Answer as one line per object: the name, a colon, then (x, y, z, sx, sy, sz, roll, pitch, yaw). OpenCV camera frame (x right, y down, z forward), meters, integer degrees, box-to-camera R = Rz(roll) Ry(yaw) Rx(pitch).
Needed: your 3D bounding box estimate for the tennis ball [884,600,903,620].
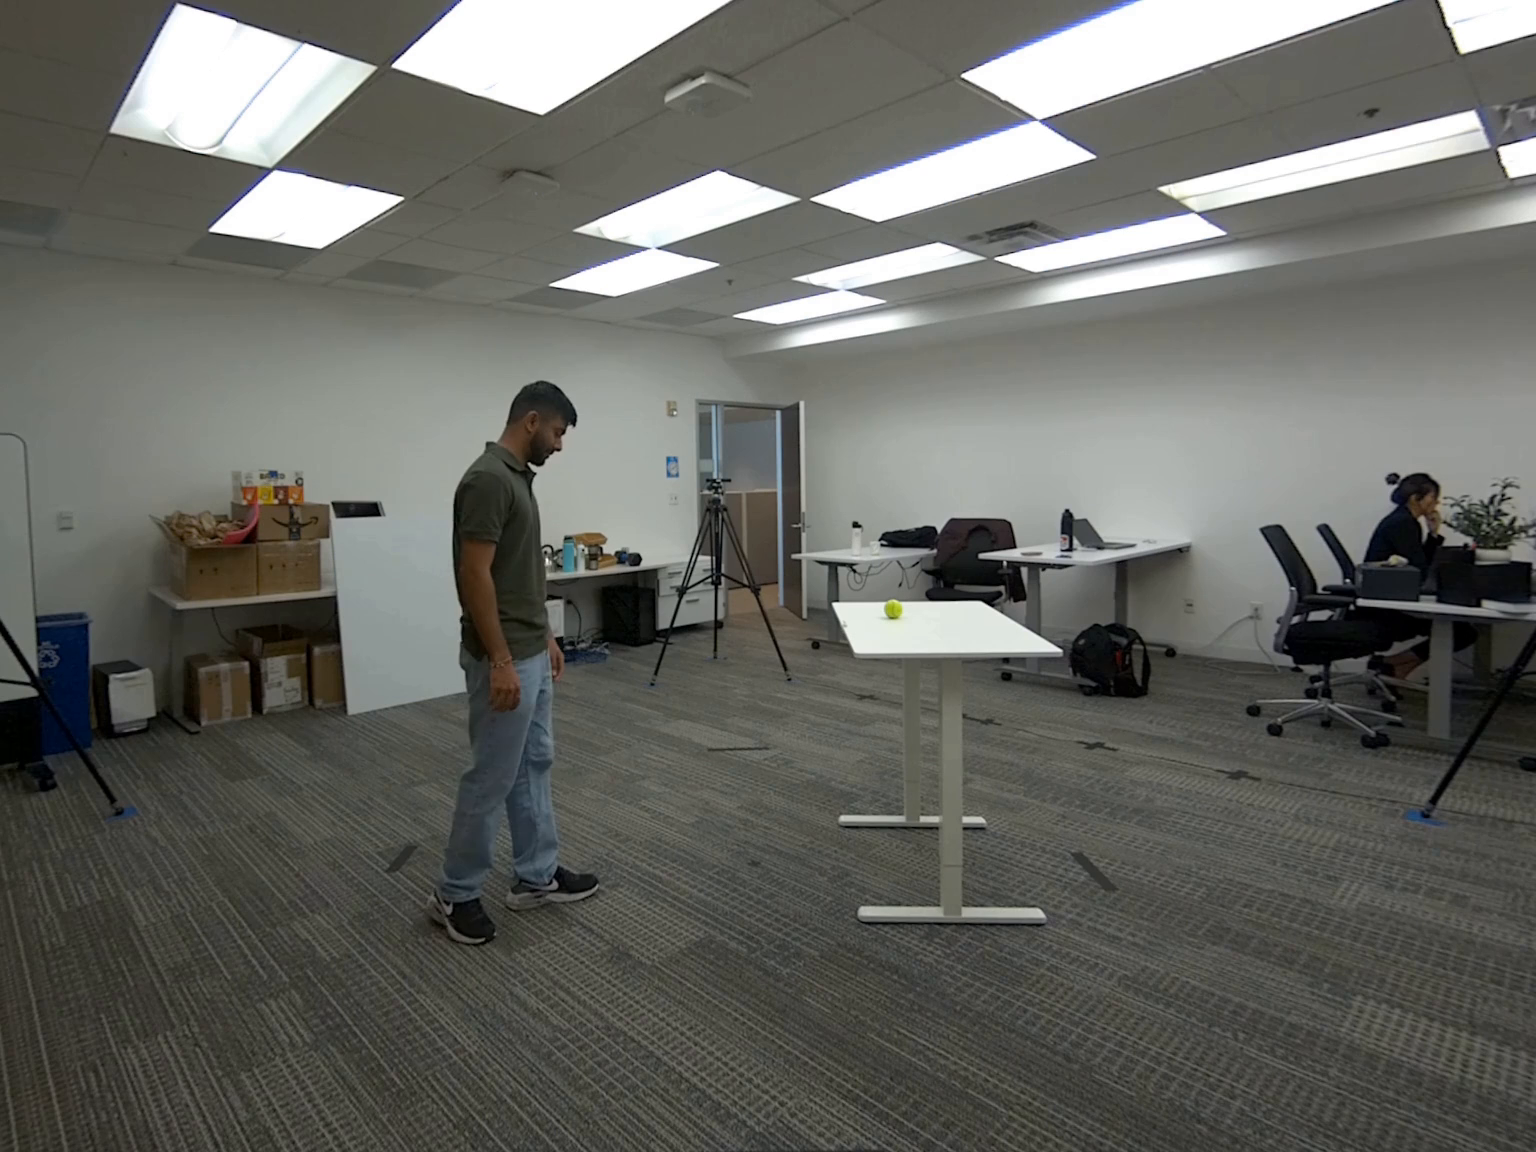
tennis ball: (0.457, 0.116, 3.113, 0.066, 0.066, 0.067, -1, 5, -2)
